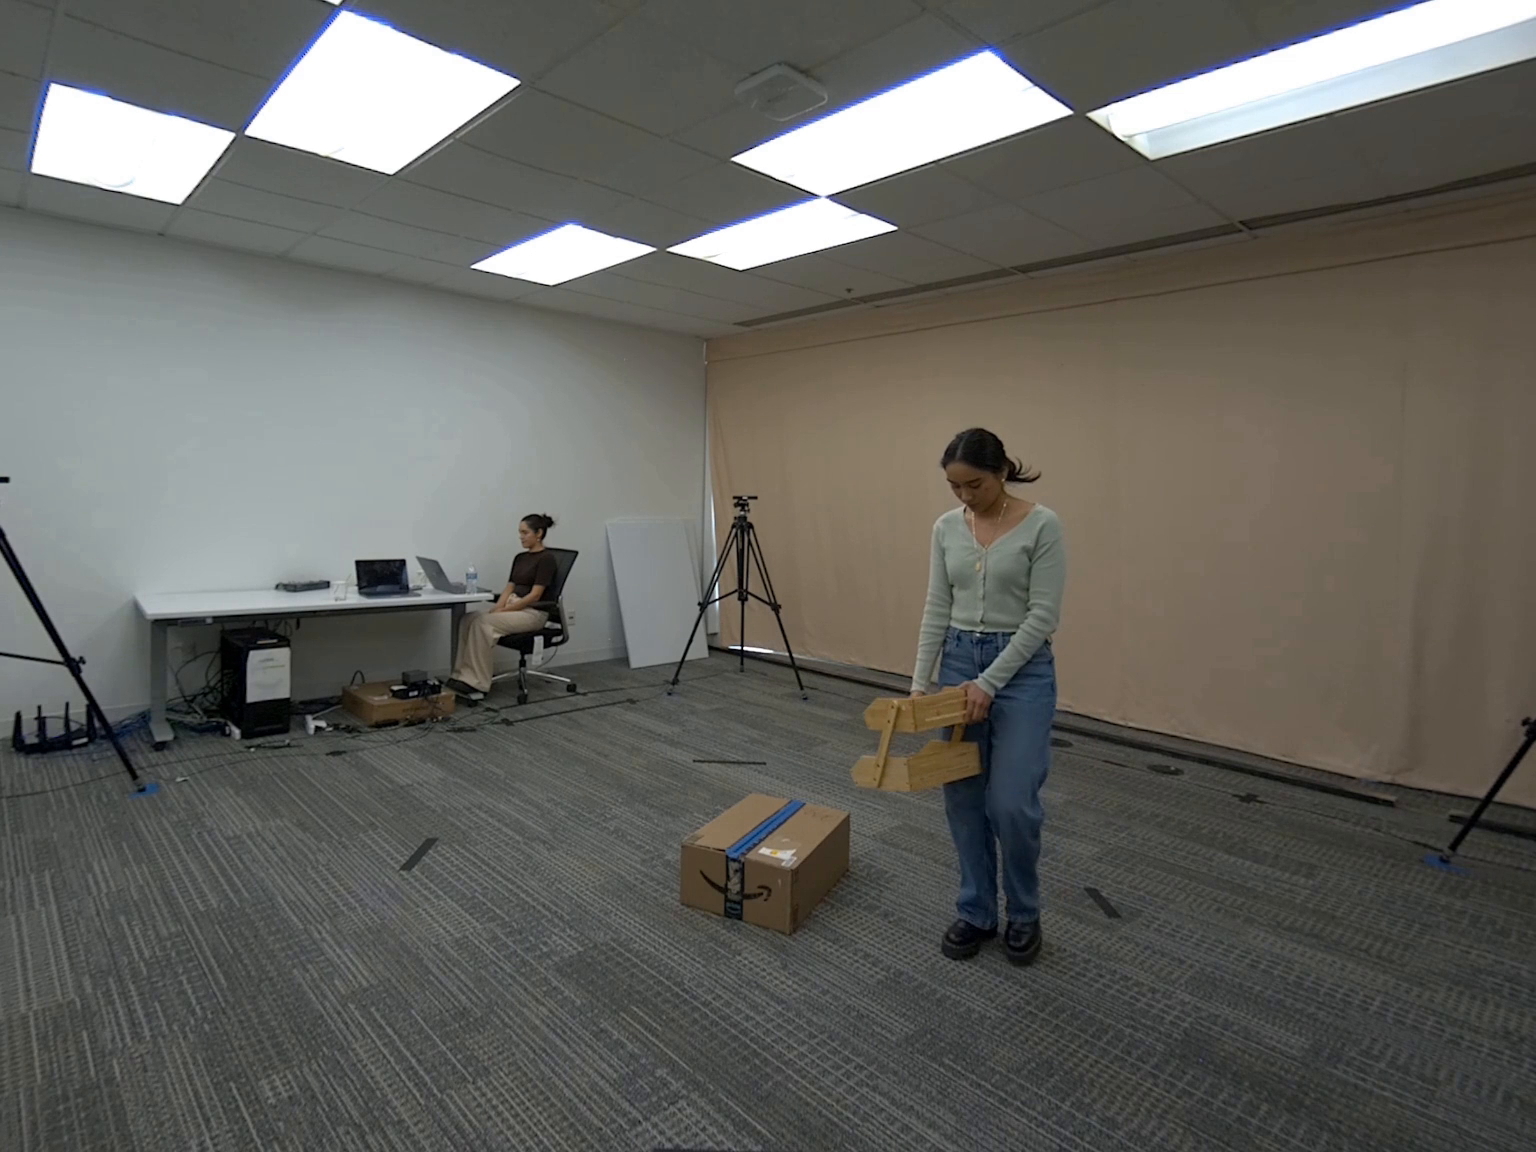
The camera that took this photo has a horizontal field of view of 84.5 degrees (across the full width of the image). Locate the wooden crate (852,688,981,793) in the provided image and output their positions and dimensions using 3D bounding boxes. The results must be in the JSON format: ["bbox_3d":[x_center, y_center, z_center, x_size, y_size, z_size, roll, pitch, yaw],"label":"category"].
[{"bbox_3d":[0.441,0.478,2.532,0.317,0.275,0.307,-3,-7,-34],"label":"wooden crate"}]
